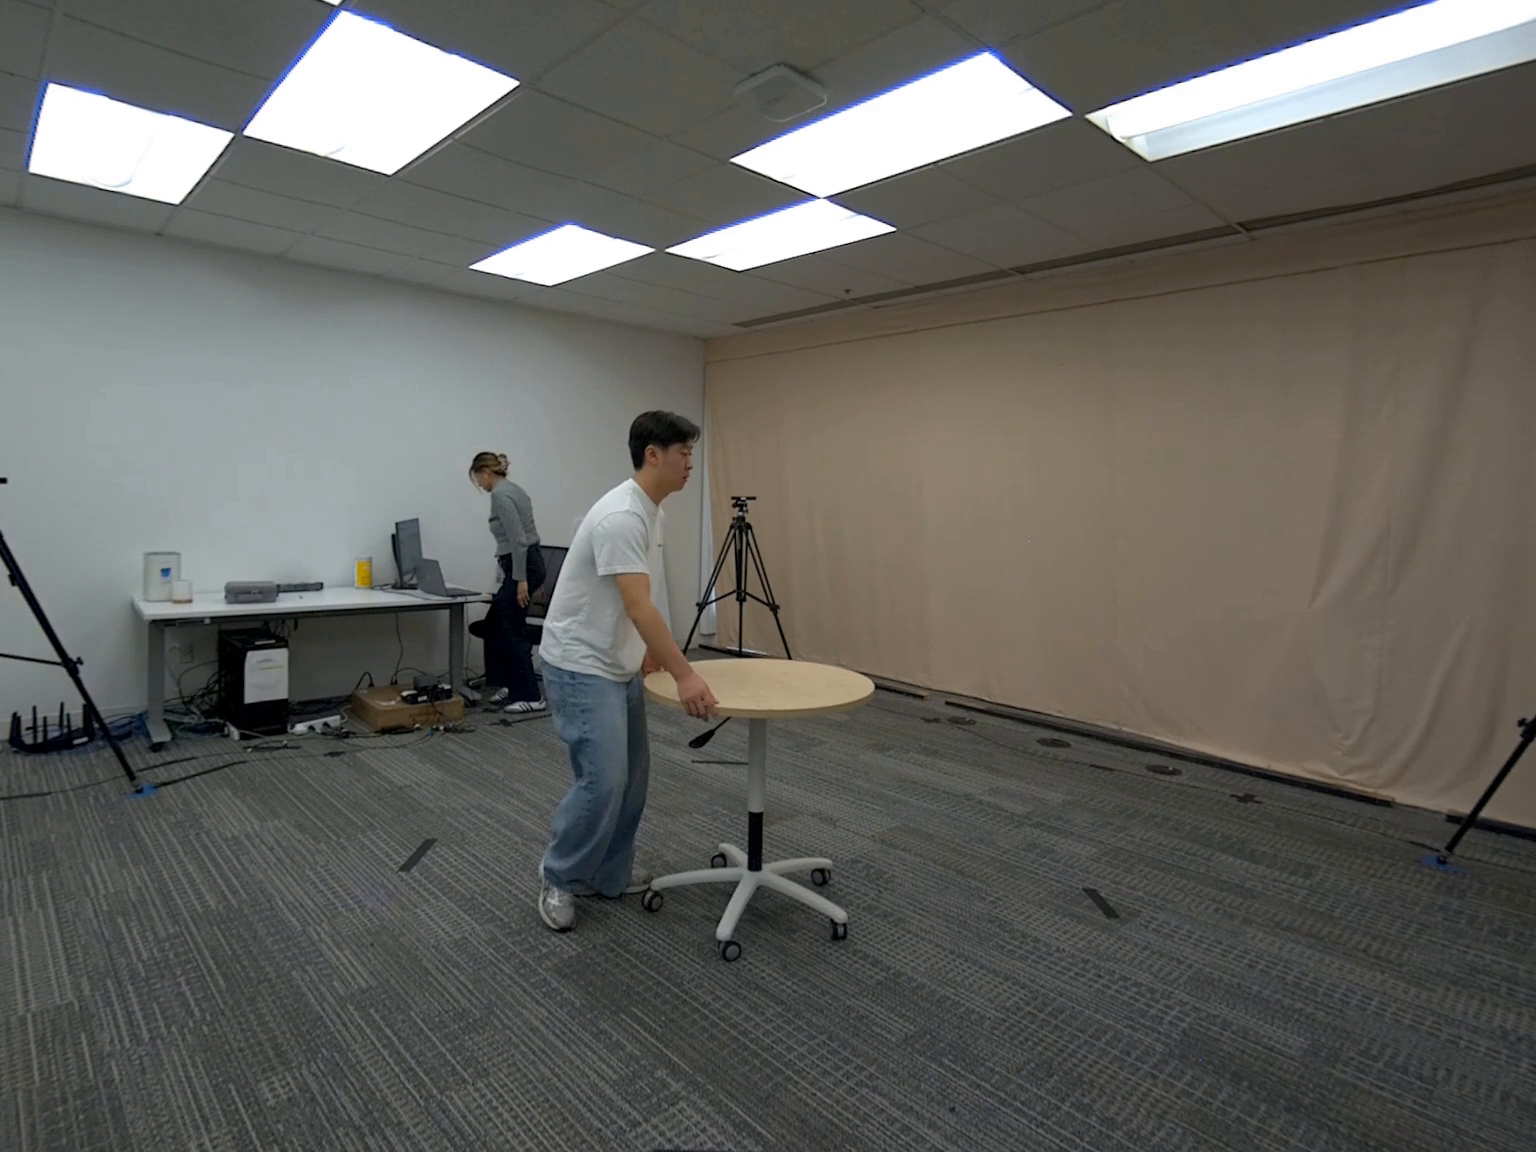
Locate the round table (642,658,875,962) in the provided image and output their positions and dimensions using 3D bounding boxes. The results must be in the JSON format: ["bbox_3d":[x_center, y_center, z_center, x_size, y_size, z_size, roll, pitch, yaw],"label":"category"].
[{"bbox_3d":[-0.058,0.738,2.836,0.784,0.784,0.788,1,4,-1],"label":"round table"}]
